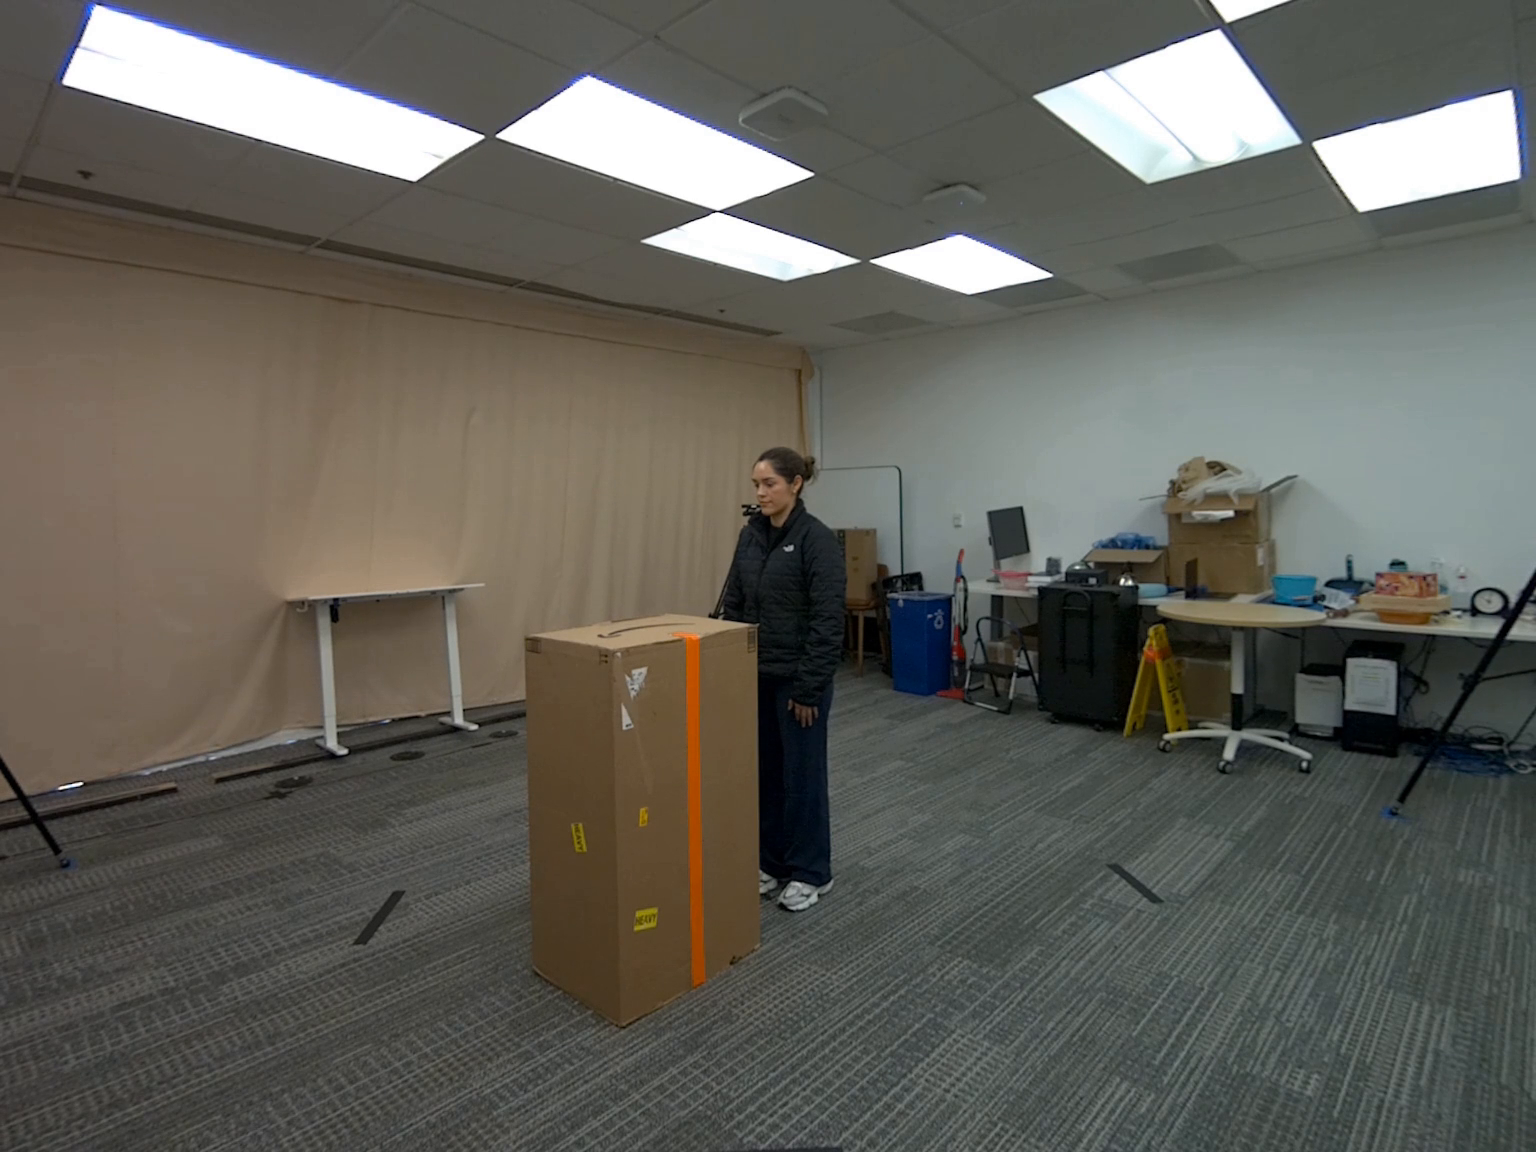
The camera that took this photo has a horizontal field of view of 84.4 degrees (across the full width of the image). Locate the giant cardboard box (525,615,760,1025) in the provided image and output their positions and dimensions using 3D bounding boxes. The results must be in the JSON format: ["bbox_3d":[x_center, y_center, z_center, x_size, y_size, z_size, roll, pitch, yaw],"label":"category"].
[{"bbox_3d":[-0.361,0.676,2.566,0.440,1.024,0.560,2,4,42],"label":"giant cardboard box"}]
